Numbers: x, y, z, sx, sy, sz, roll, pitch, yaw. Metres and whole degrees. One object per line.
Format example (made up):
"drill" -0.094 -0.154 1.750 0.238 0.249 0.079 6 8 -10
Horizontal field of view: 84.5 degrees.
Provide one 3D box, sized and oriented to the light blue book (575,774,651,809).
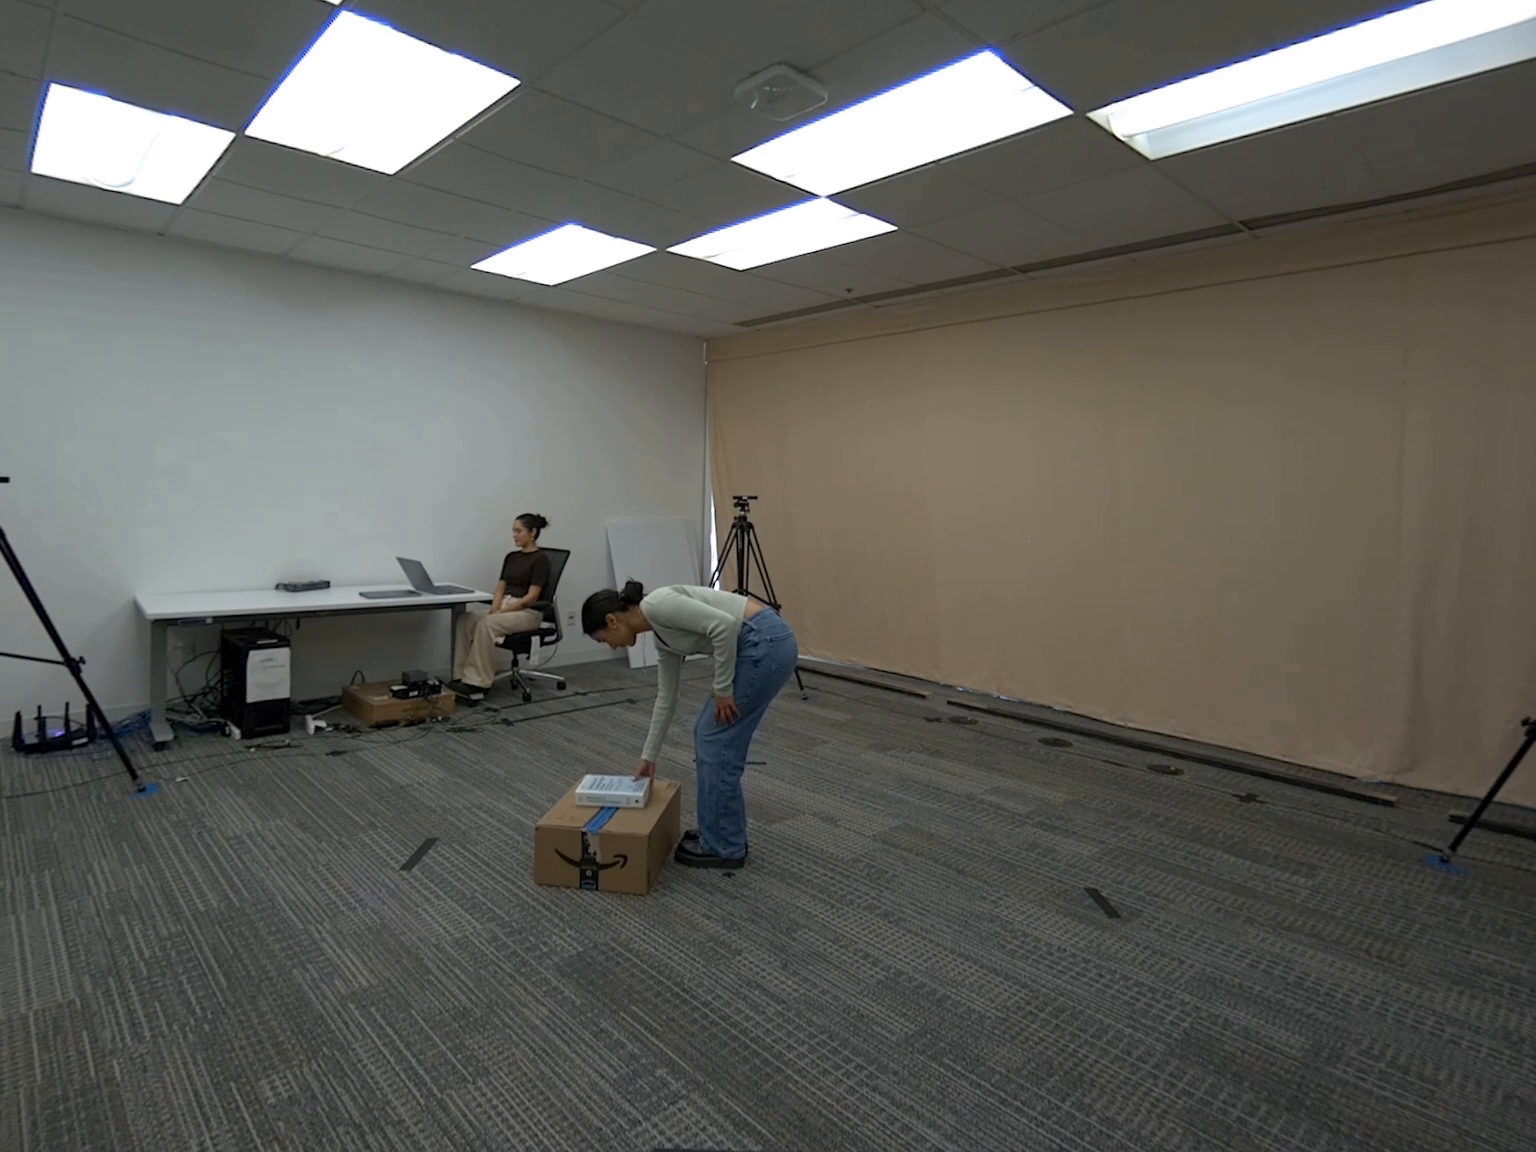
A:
"light blue book" -0.599 0.834 3.267 0.262 0.059 0.191 1 6 3
